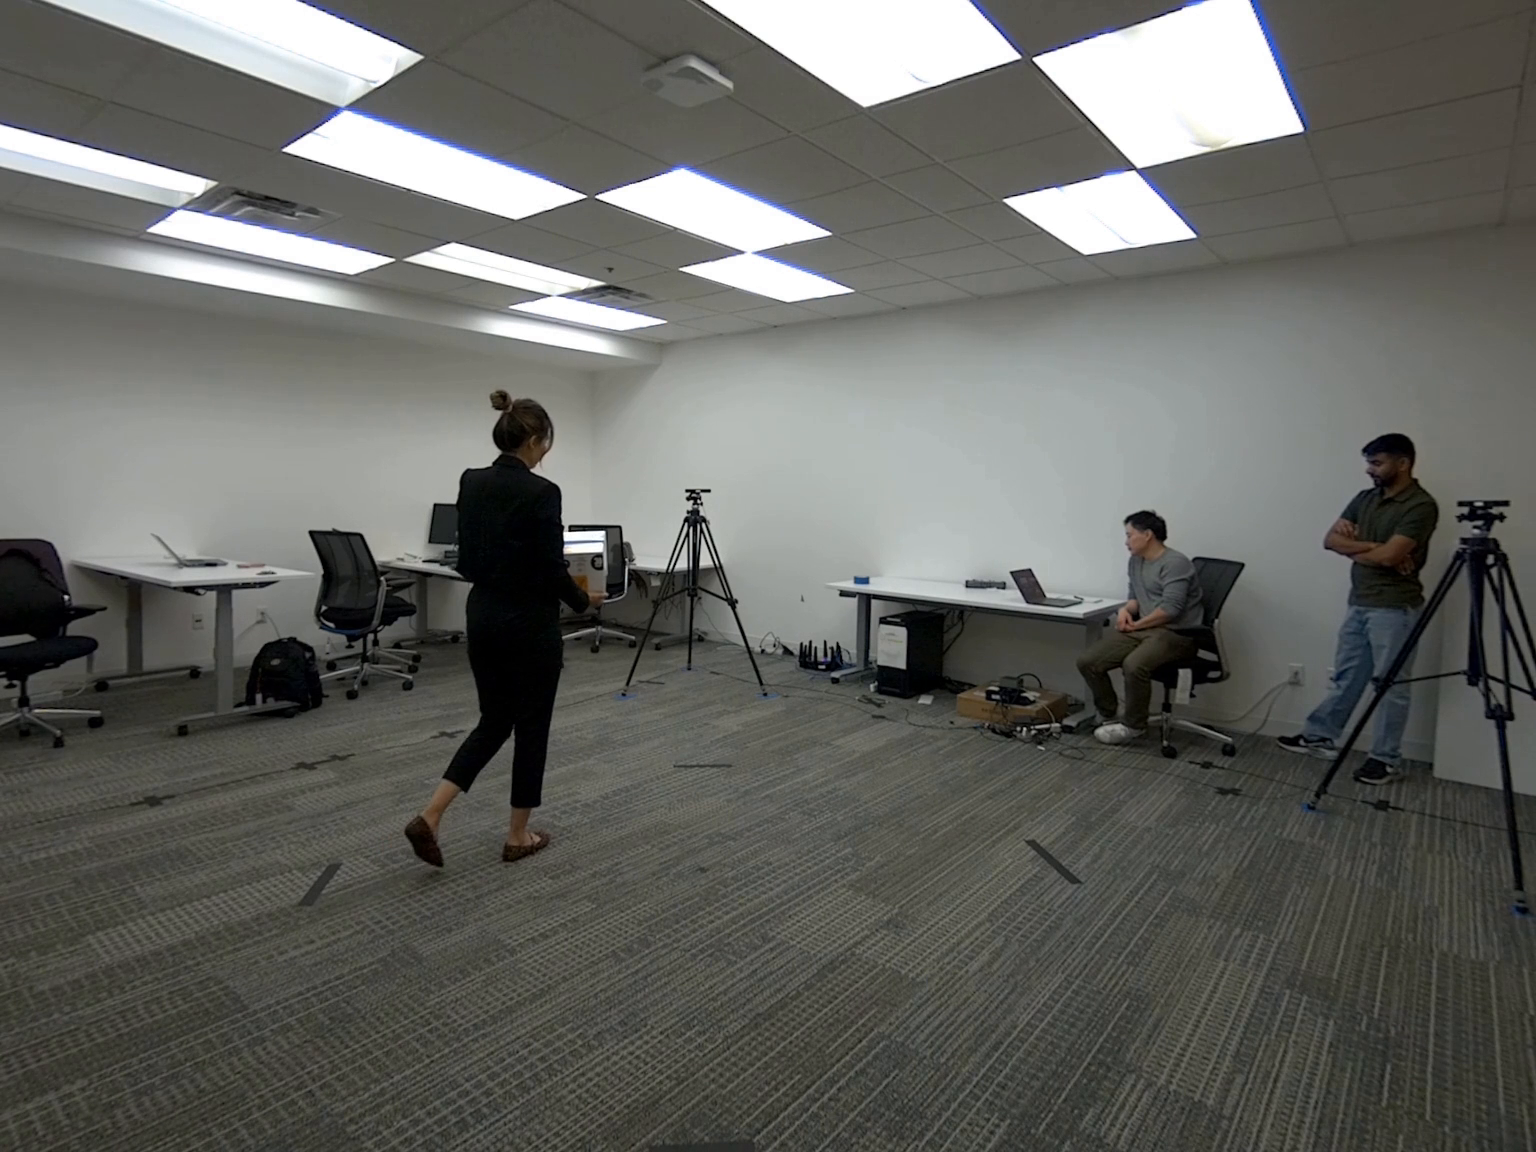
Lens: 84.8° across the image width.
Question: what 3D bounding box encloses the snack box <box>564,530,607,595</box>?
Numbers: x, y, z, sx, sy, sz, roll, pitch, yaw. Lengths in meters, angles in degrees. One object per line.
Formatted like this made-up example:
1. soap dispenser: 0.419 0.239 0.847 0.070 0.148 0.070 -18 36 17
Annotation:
1. snack box: -0.875 -0.038 3.464 0.403 0.203 0.348 -3 16 -7
